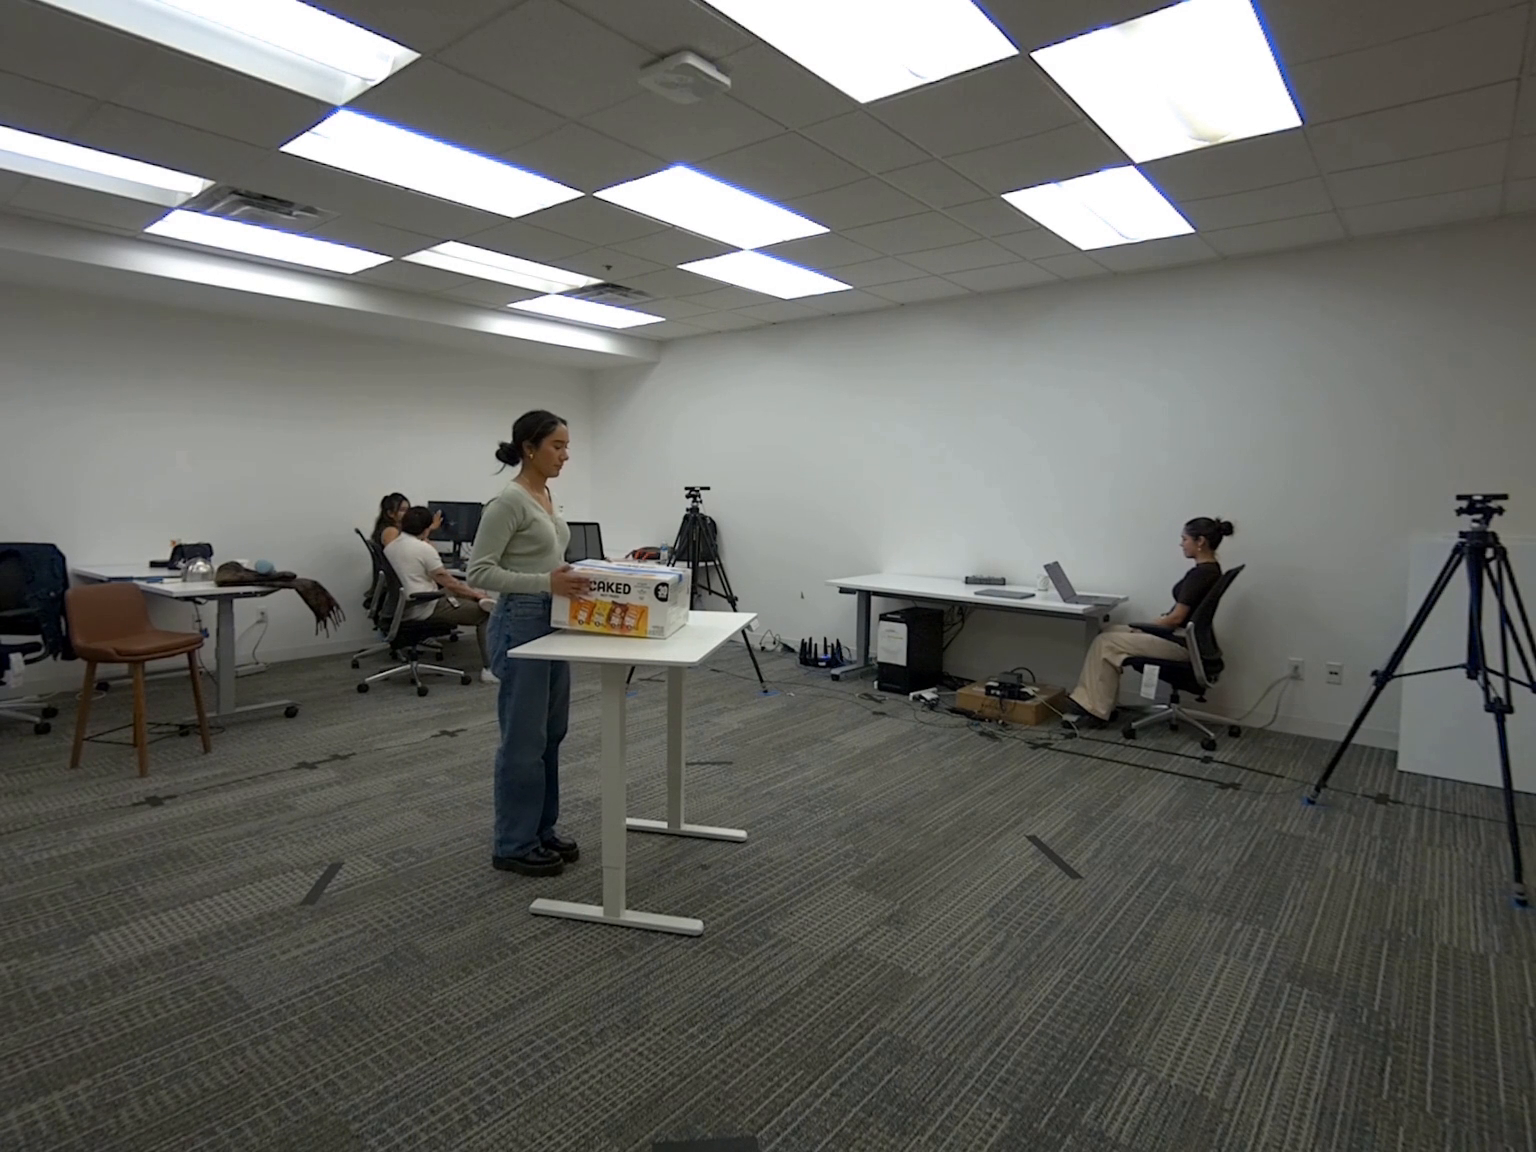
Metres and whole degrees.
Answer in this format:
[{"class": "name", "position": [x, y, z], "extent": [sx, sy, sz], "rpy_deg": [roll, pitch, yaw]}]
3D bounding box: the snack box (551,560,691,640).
[{"class": "snack box", "position": [-0.521, 0.074, 3.017], "extent": [0.410, 0.204, 0.338], "rpy_deg": [5, 7, 9]}]
